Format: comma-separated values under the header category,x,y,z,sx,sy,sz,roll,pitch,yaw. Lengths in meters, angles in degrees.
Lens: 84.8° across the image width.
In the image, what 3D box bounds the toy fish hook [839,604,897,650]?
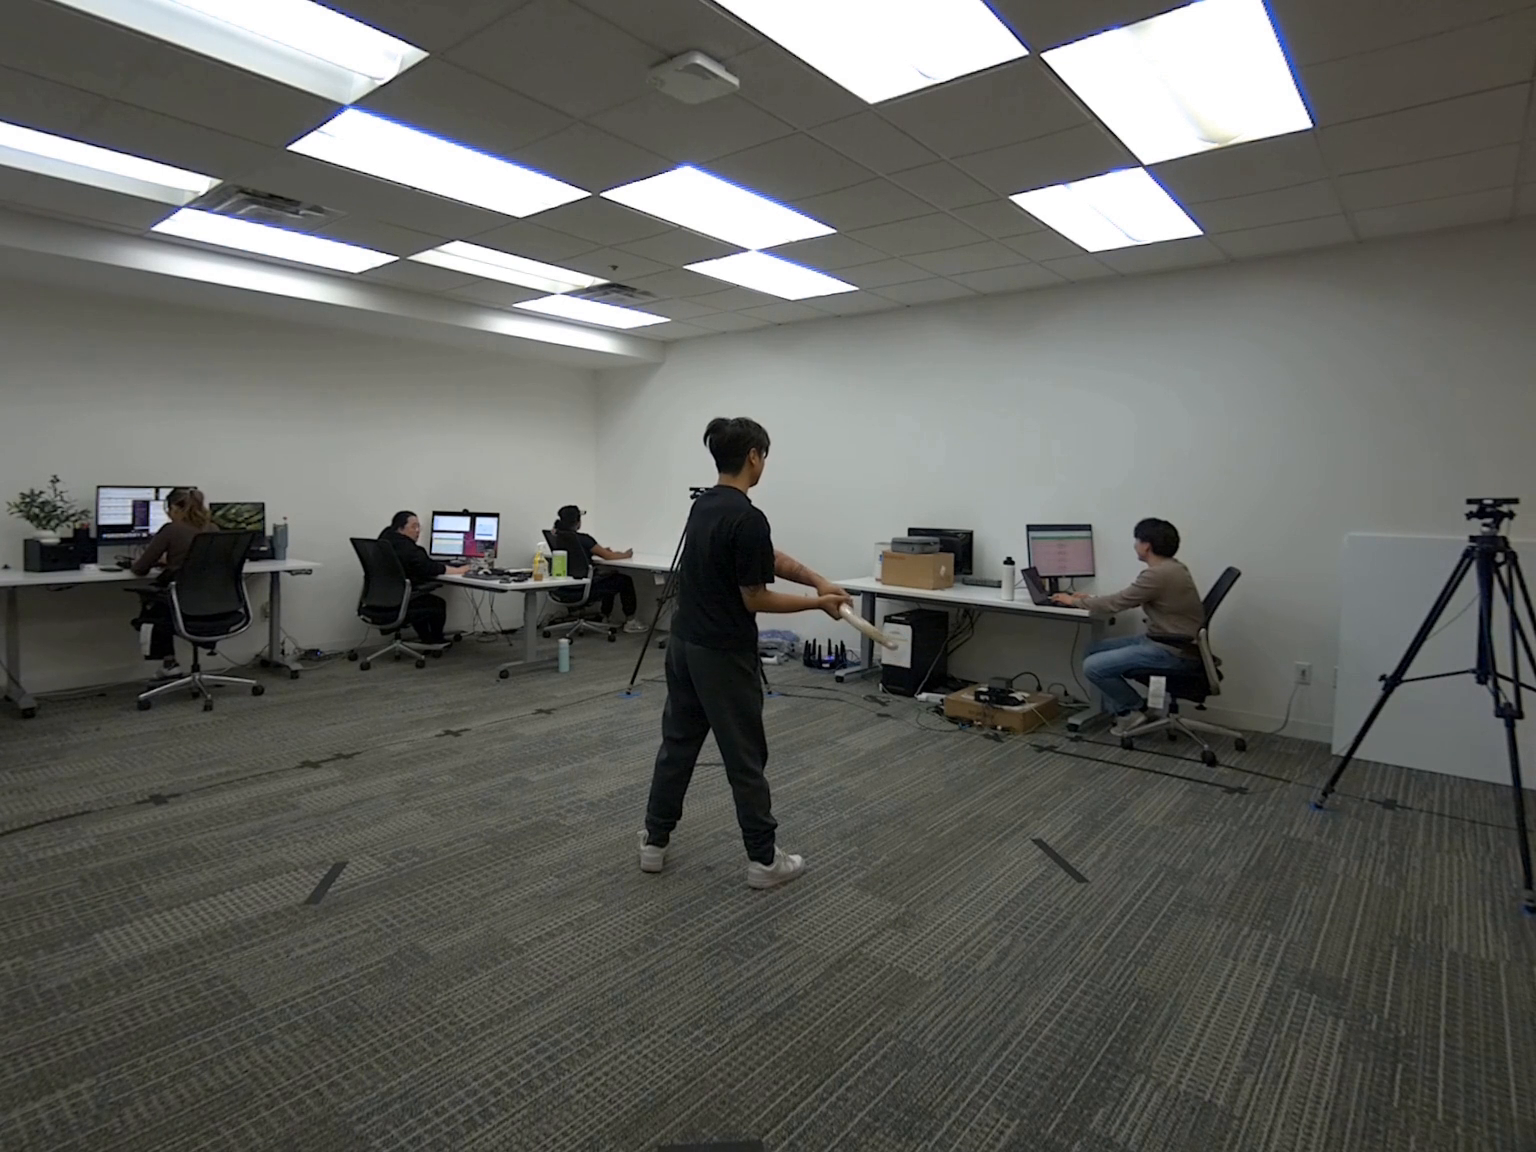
category,x,y,z,sx,sy,sz,roll,pitch,yaw
toy fish hook,0.318,0.159,2.882,0.220,0.048,0.517,39,1,-16
